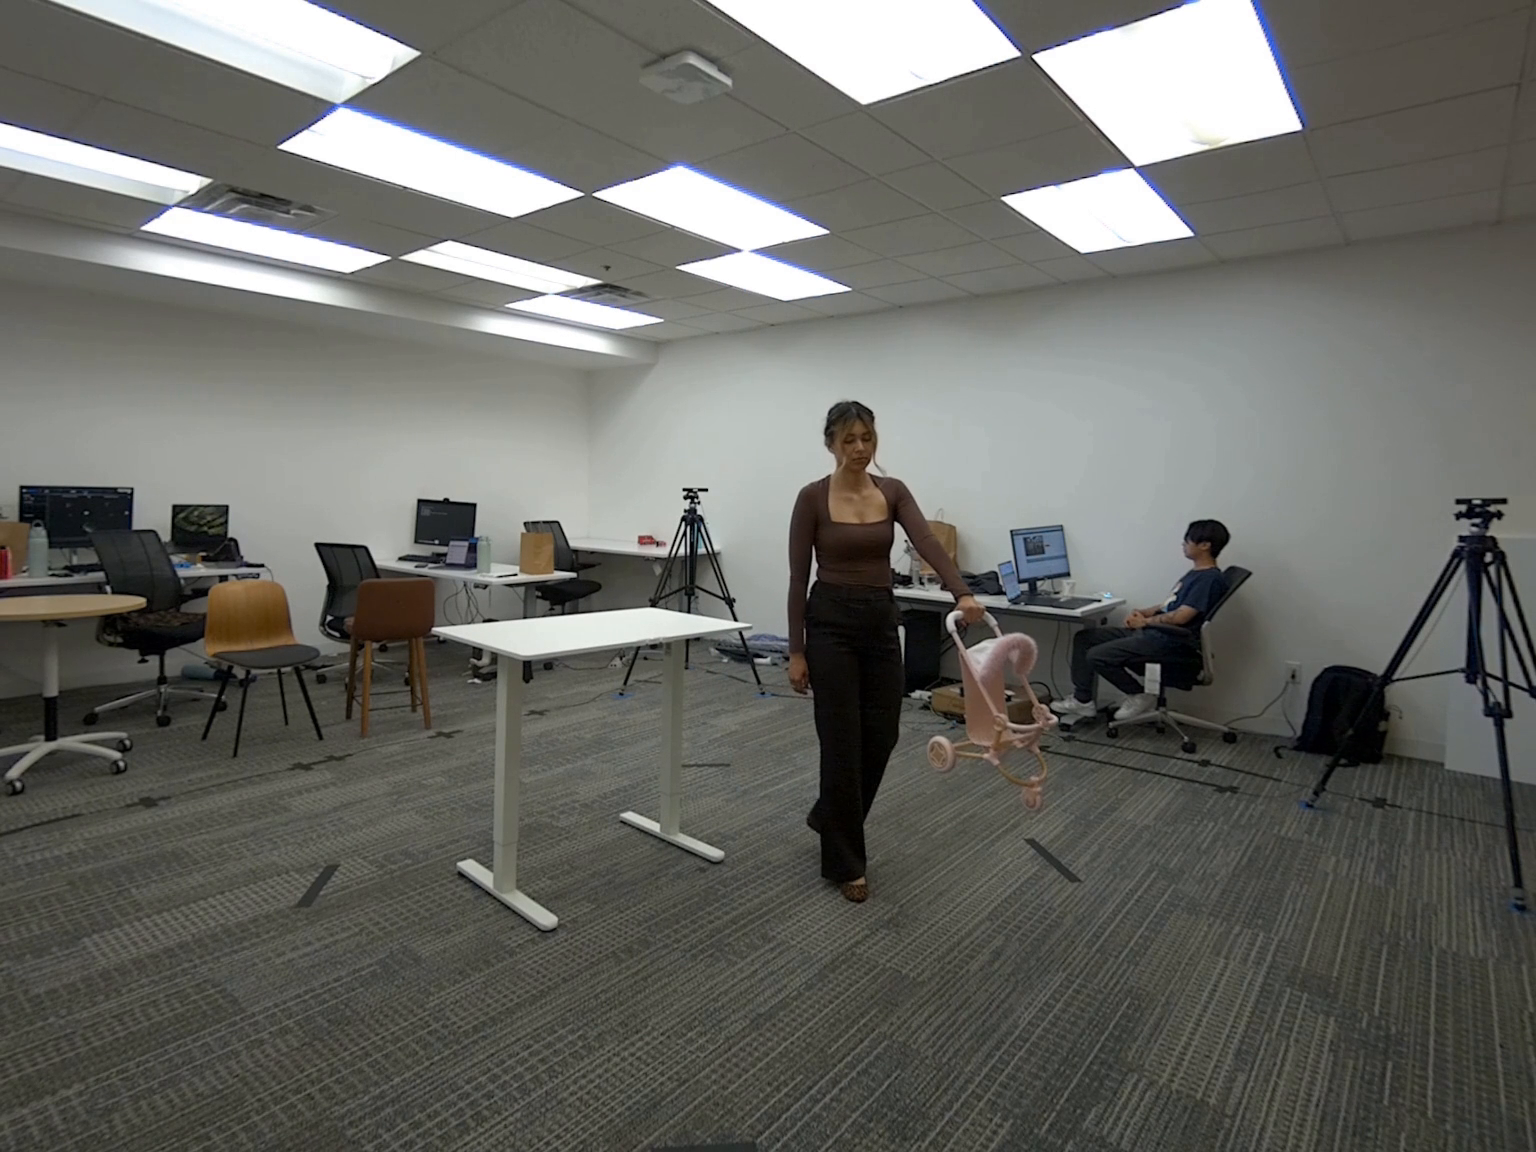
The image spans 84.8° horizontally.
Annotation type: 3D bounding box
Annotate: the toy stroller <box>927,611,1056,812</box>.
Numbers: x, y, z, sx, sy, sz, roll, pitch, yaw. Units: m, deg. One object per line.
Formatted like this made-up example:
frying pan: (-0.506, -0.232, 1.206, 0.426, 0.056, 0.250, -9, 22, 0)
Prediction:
toy stroller: (0.685, 0.393, 2.551, 0.274, 0.533, 0.352, 0, 5, -30)
